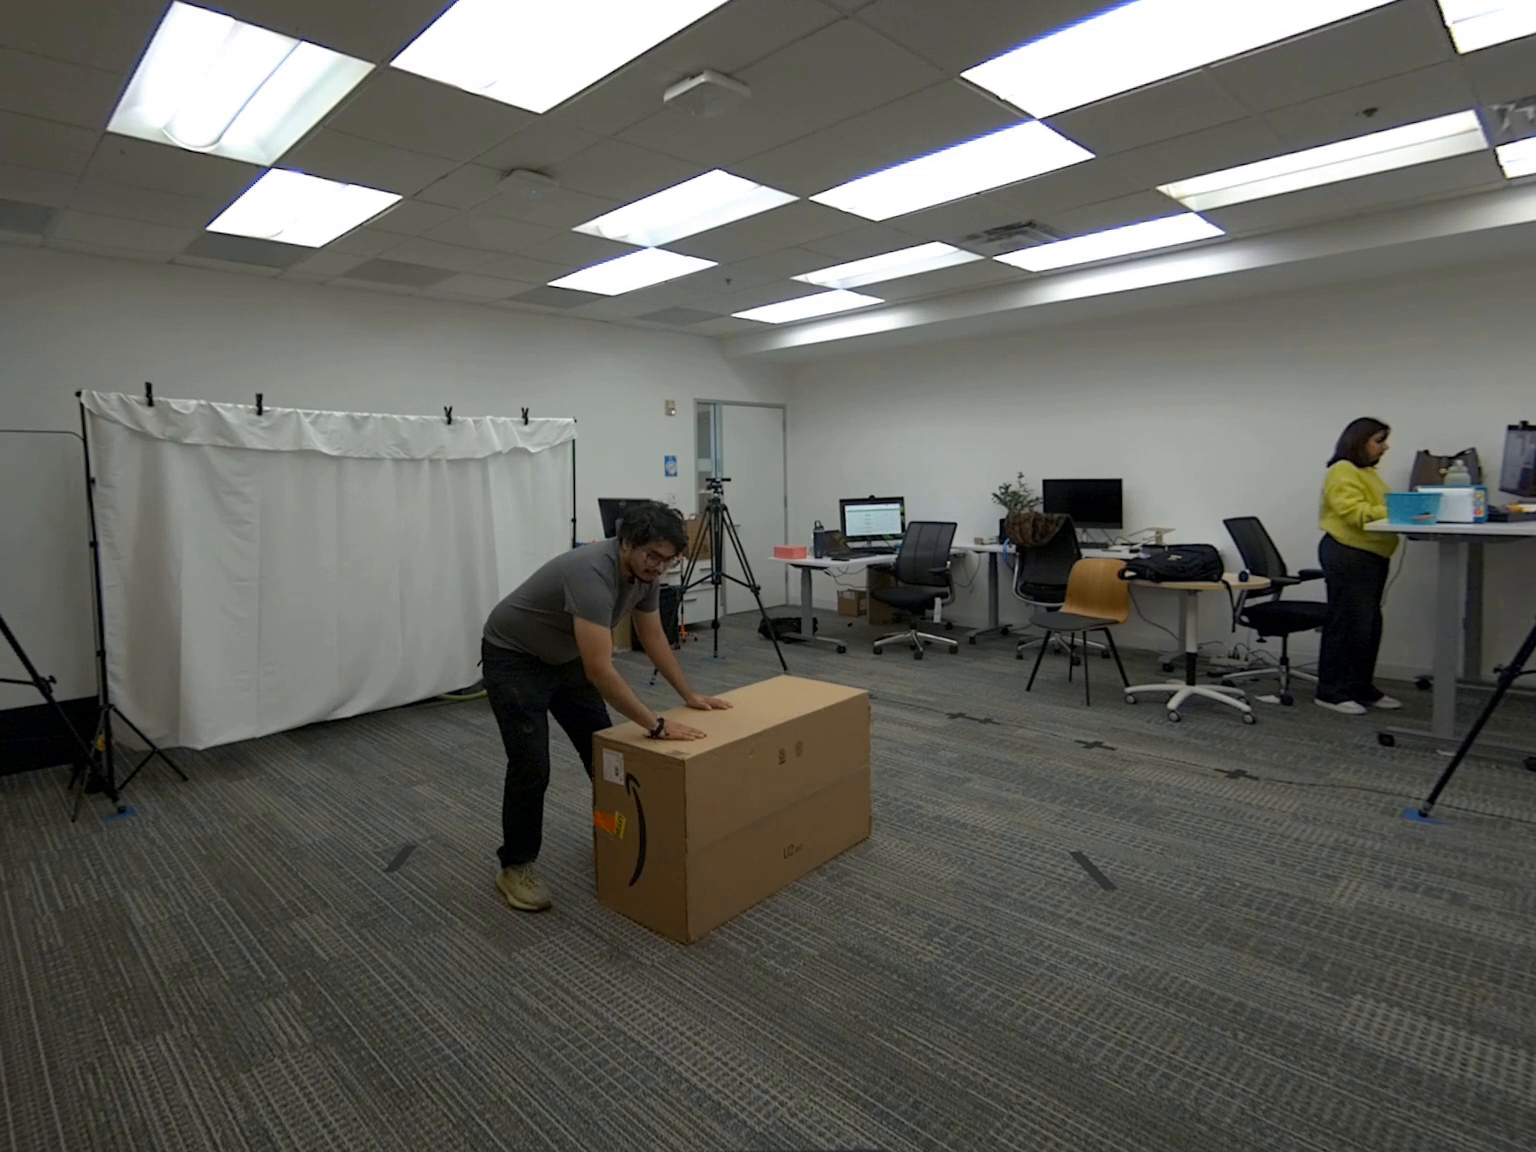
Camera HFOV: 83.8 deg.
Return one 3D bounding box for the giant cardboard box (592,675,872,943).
[{"bbox_3d":[-0.092,0.761,3.061,0.439,0.575,1.000,2,6,40],"label":"giant cardboard box"}]
